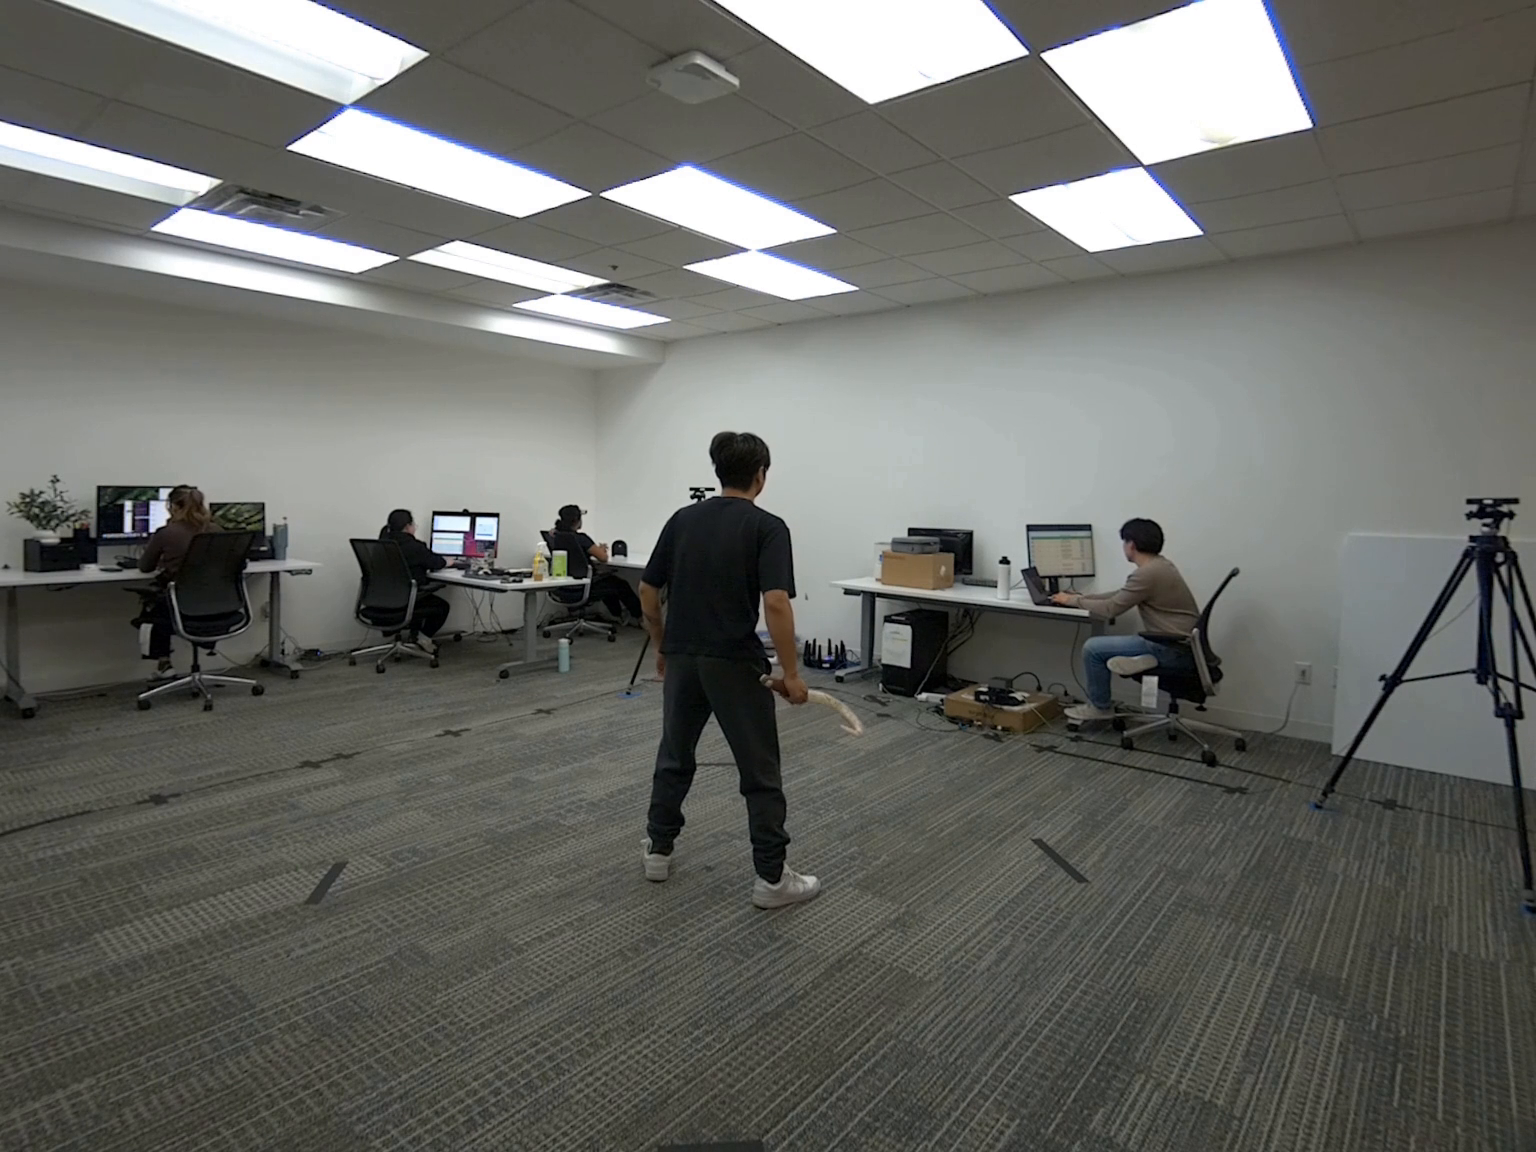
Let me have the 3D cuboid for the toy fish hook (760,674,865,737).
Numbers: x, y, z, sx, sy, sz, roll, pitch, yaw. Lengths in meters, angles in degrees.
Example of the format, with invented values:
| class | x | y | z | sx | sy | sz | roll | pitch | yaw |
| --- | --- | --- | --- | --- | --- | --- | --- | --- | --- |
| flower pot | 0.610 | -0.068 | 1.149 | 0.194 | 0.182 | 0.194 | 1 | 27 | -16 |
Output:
| class | x | y | z | sx | sy | sz | roll | pitch | yaw |
| --- | --- | --- | --- | --- | --- | --- | --- | --- | --- |
| toy fish hook | 0.154 | 0.424 | 2.889 | 0.486 | 0.048 | 0.234 | 25 | 12 | -44 |
